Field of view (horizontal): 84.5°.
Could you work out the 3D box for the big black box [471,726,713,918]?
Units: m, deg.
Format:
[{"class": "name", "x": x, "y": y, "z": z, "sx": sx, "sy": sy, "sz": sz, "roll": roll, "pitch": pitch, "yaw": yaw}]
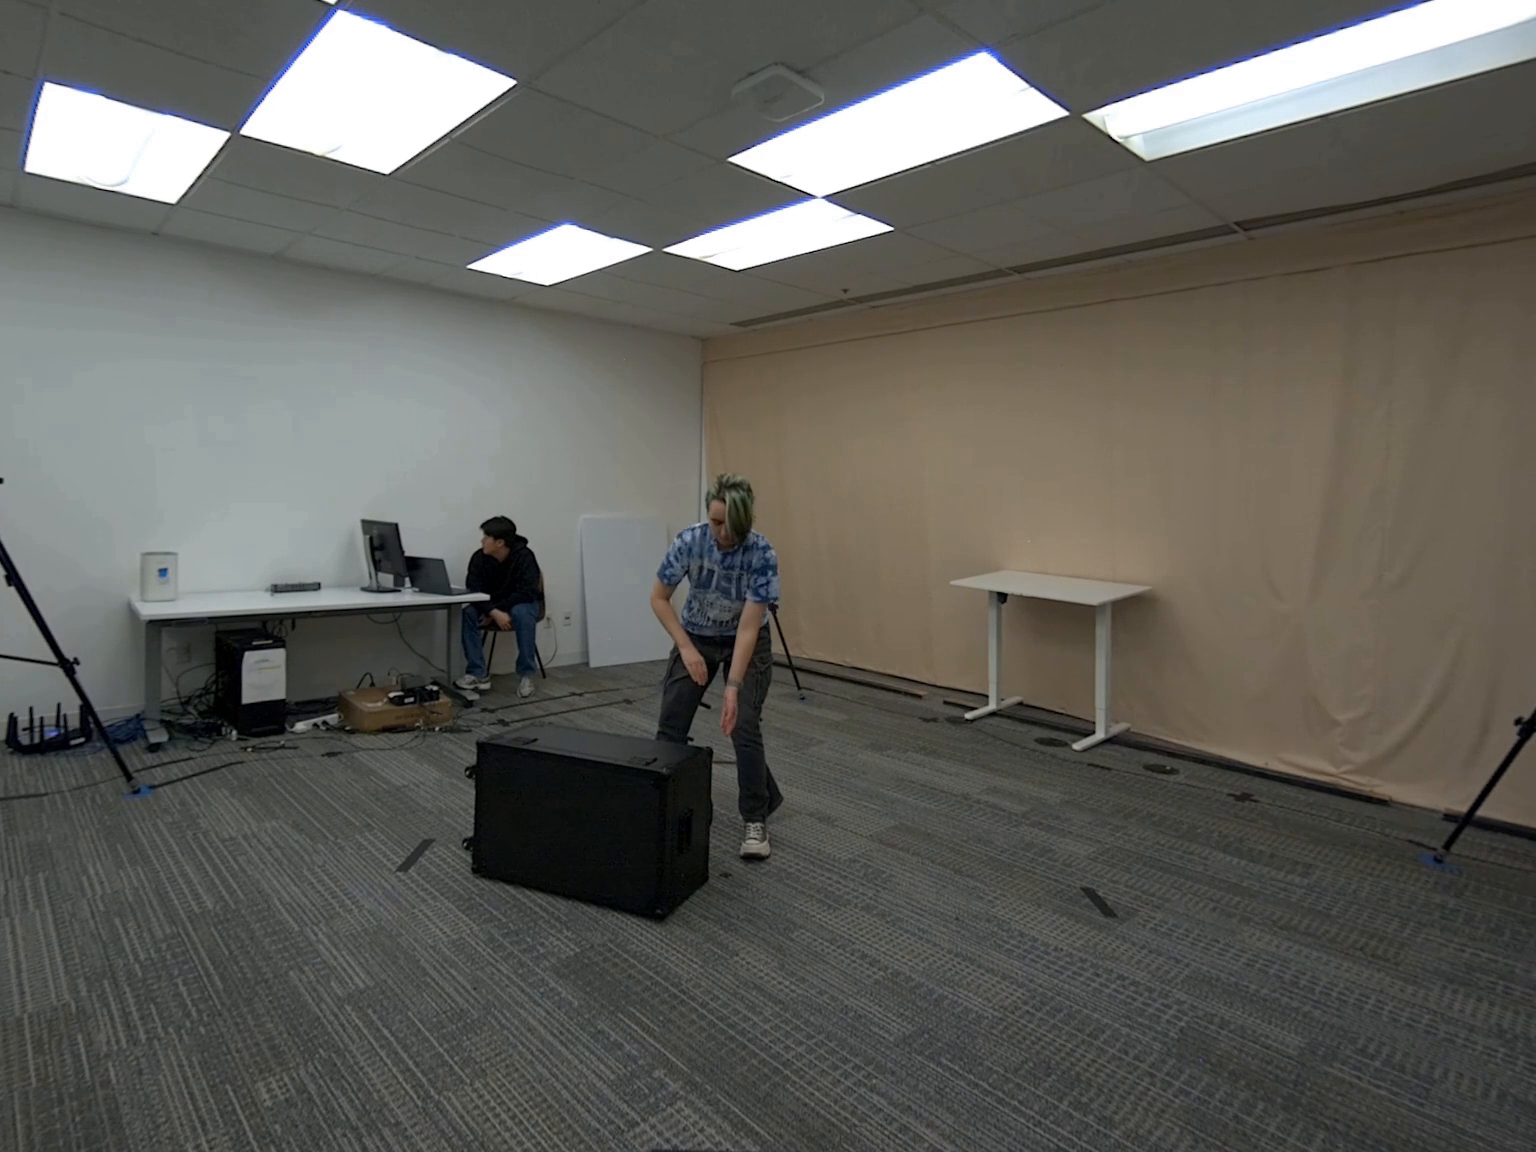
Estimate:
[{"class": "big black box", "x": -0.663, "y": 0.840, "z": 3.065, "sx": 0.877, "sy": 0.521, "sz": 0.389, "roll": 4, "pitch": 2, "yaw": 23}]
